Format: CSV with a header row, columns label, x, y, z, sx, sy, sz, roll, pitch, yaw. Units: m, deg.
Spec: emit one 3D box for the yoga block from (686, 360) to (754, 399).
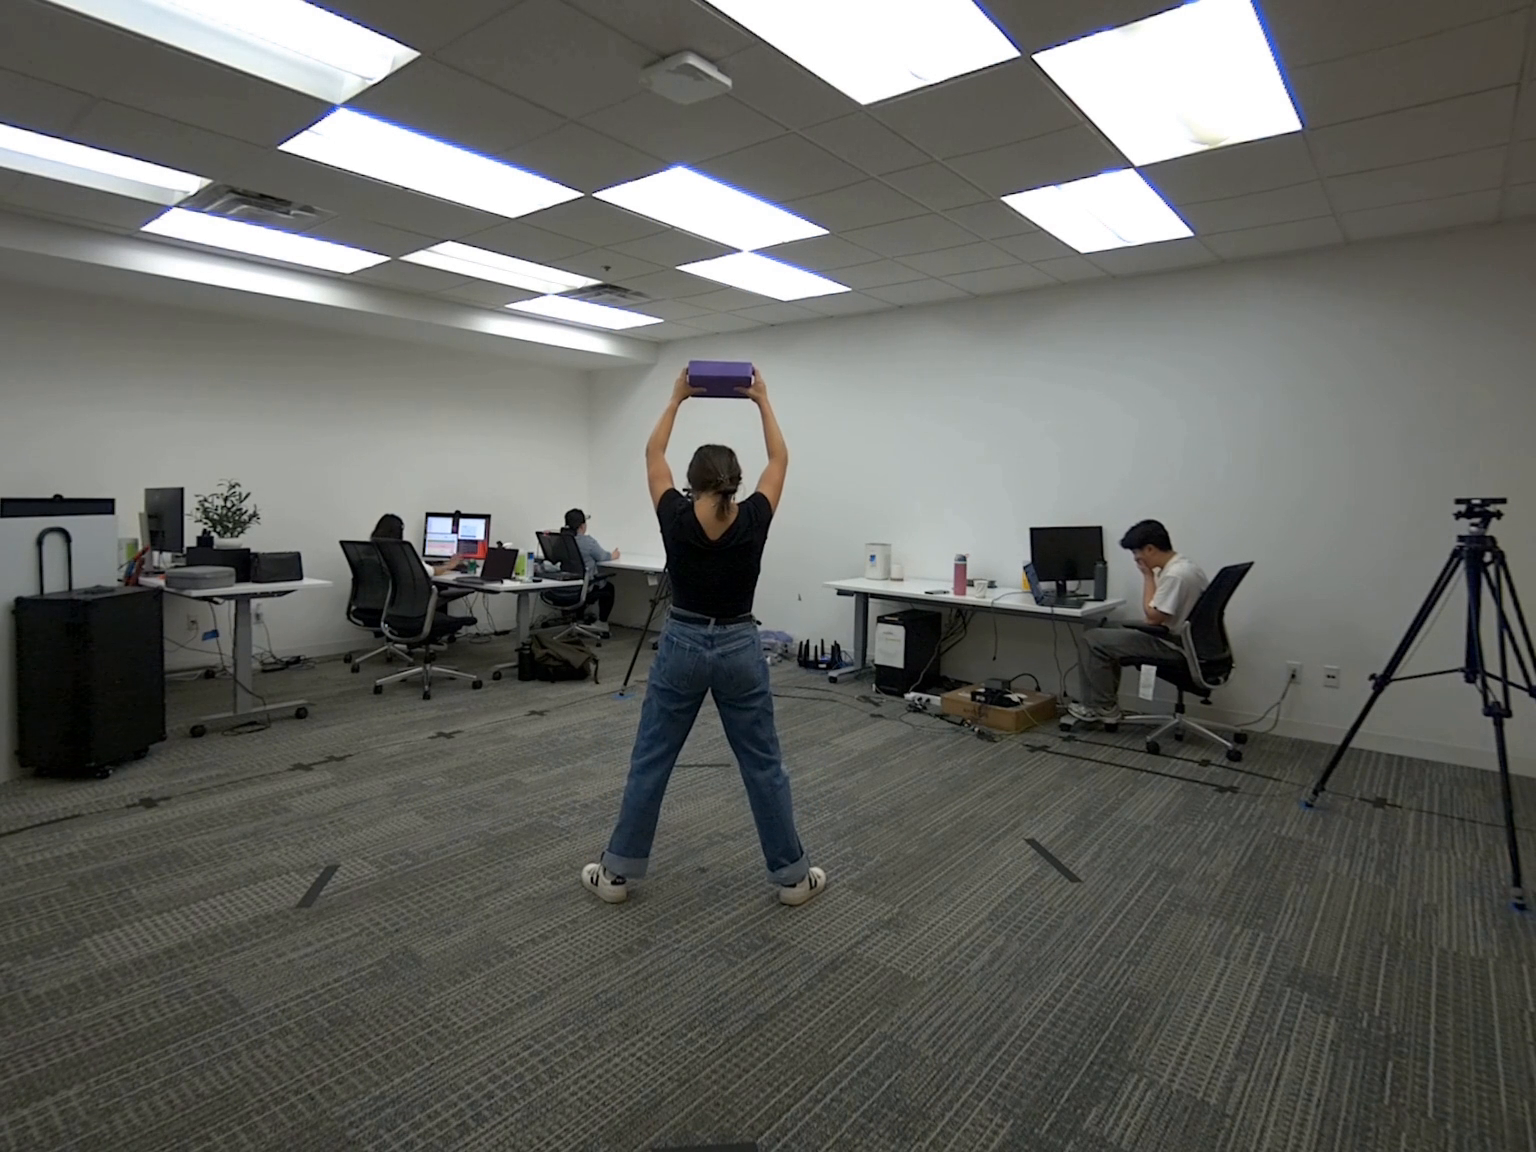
label,x,y,z,sx,sy,sz,roll,pitch,yaw
yoga block,-0.171,-0.726,3.109,0.229,0.078,0.146,2,-21,0
